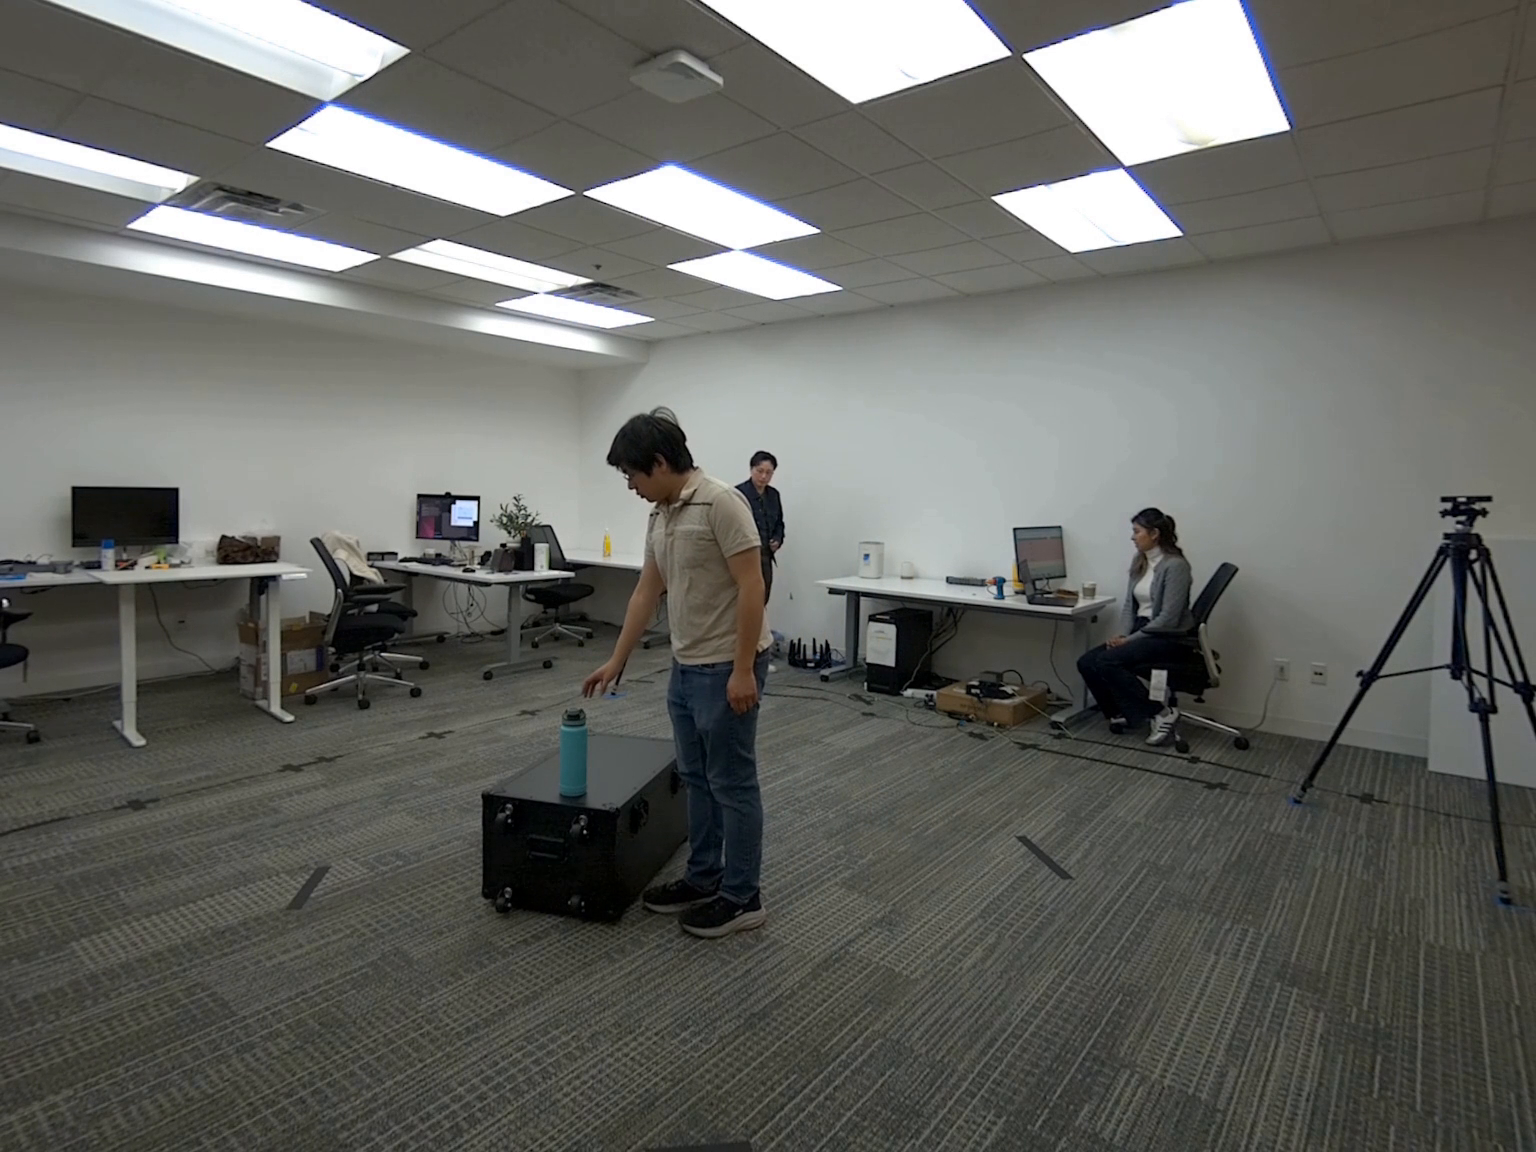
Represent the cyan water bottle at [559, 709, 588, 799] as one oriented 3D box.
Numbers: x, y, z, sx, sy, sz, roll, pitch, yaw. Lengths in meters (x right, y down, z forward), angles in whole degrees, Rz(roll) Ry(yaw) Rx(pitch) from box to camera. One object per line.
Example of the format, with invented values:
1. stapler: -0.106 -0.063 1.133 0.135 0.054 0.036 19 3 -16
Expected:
1. cyan water bottle: -0.658 0.574 2.822 0.092 0.283 0.092 1 2 -2
